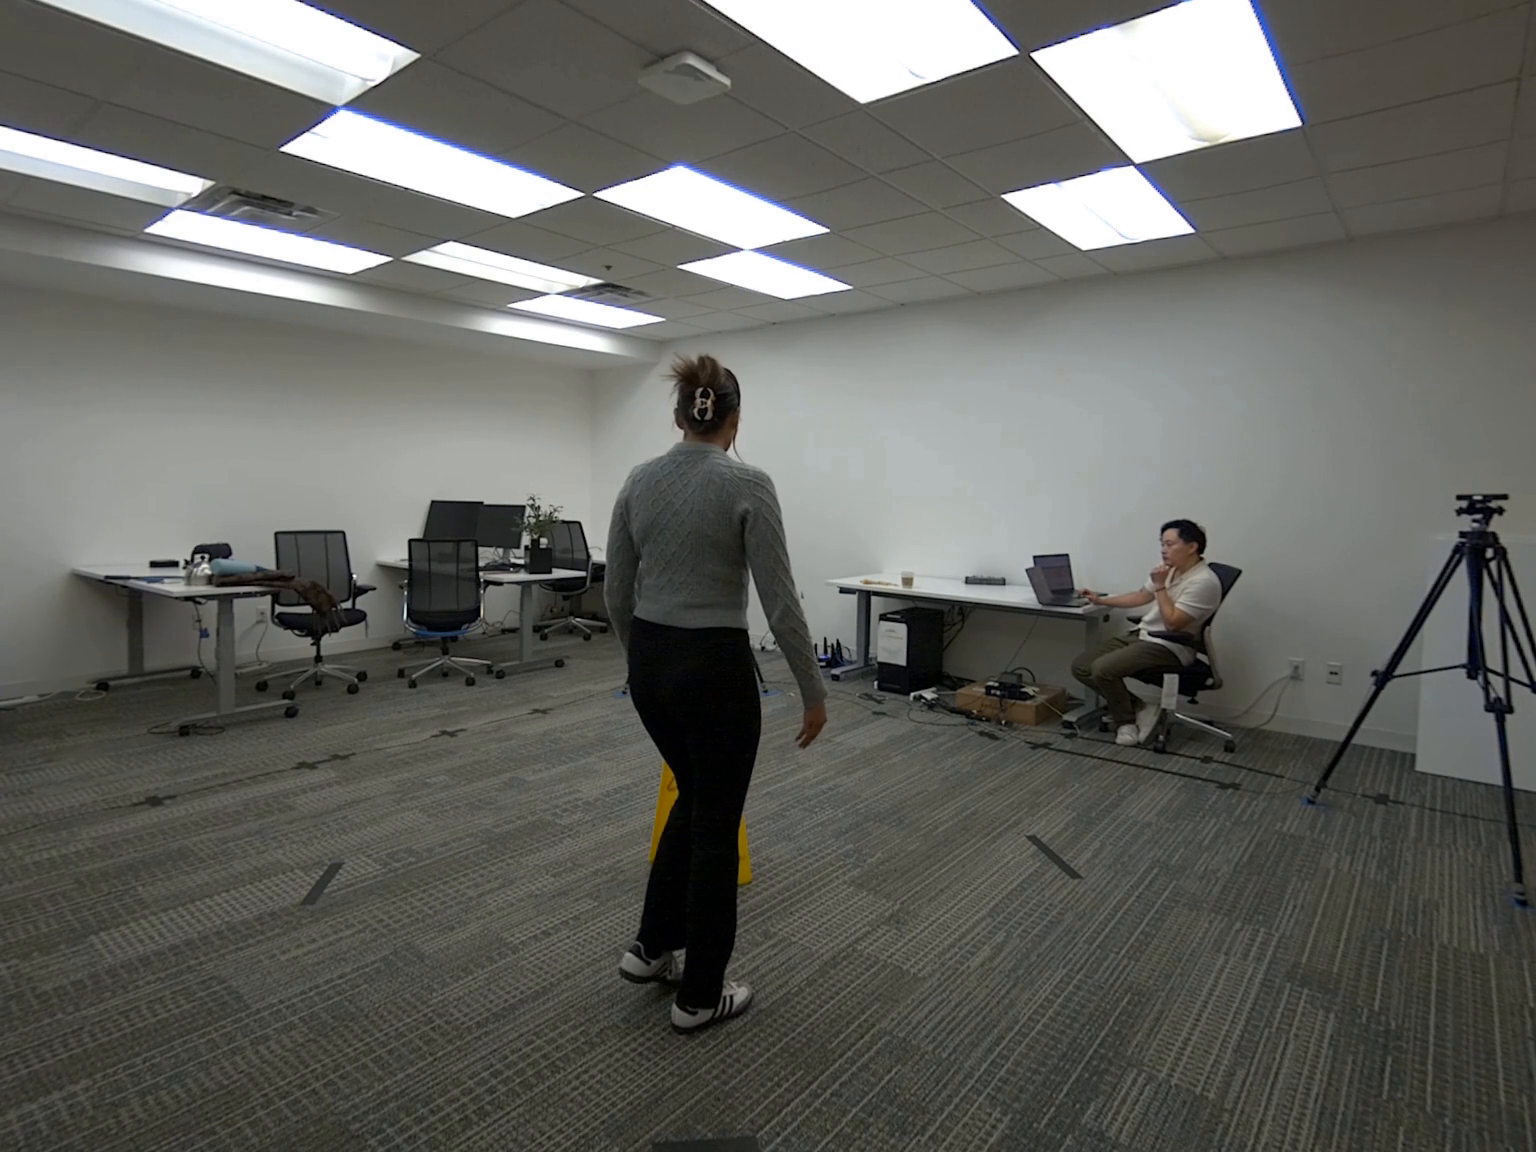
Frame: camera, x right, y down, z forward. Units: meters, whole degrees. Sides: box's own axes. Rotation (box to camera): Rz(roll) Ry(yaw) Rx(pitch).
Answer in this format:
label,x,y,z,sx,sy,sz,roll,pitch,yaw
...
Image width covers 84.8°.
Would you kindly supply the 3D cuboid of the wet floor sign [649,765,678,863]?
label,x,y,z,sx,sy,sz,roll,pitch,yaw
wet floor sign,-0.252,0.739,3.063,0.275,0.645,0.298,1,2,-28
